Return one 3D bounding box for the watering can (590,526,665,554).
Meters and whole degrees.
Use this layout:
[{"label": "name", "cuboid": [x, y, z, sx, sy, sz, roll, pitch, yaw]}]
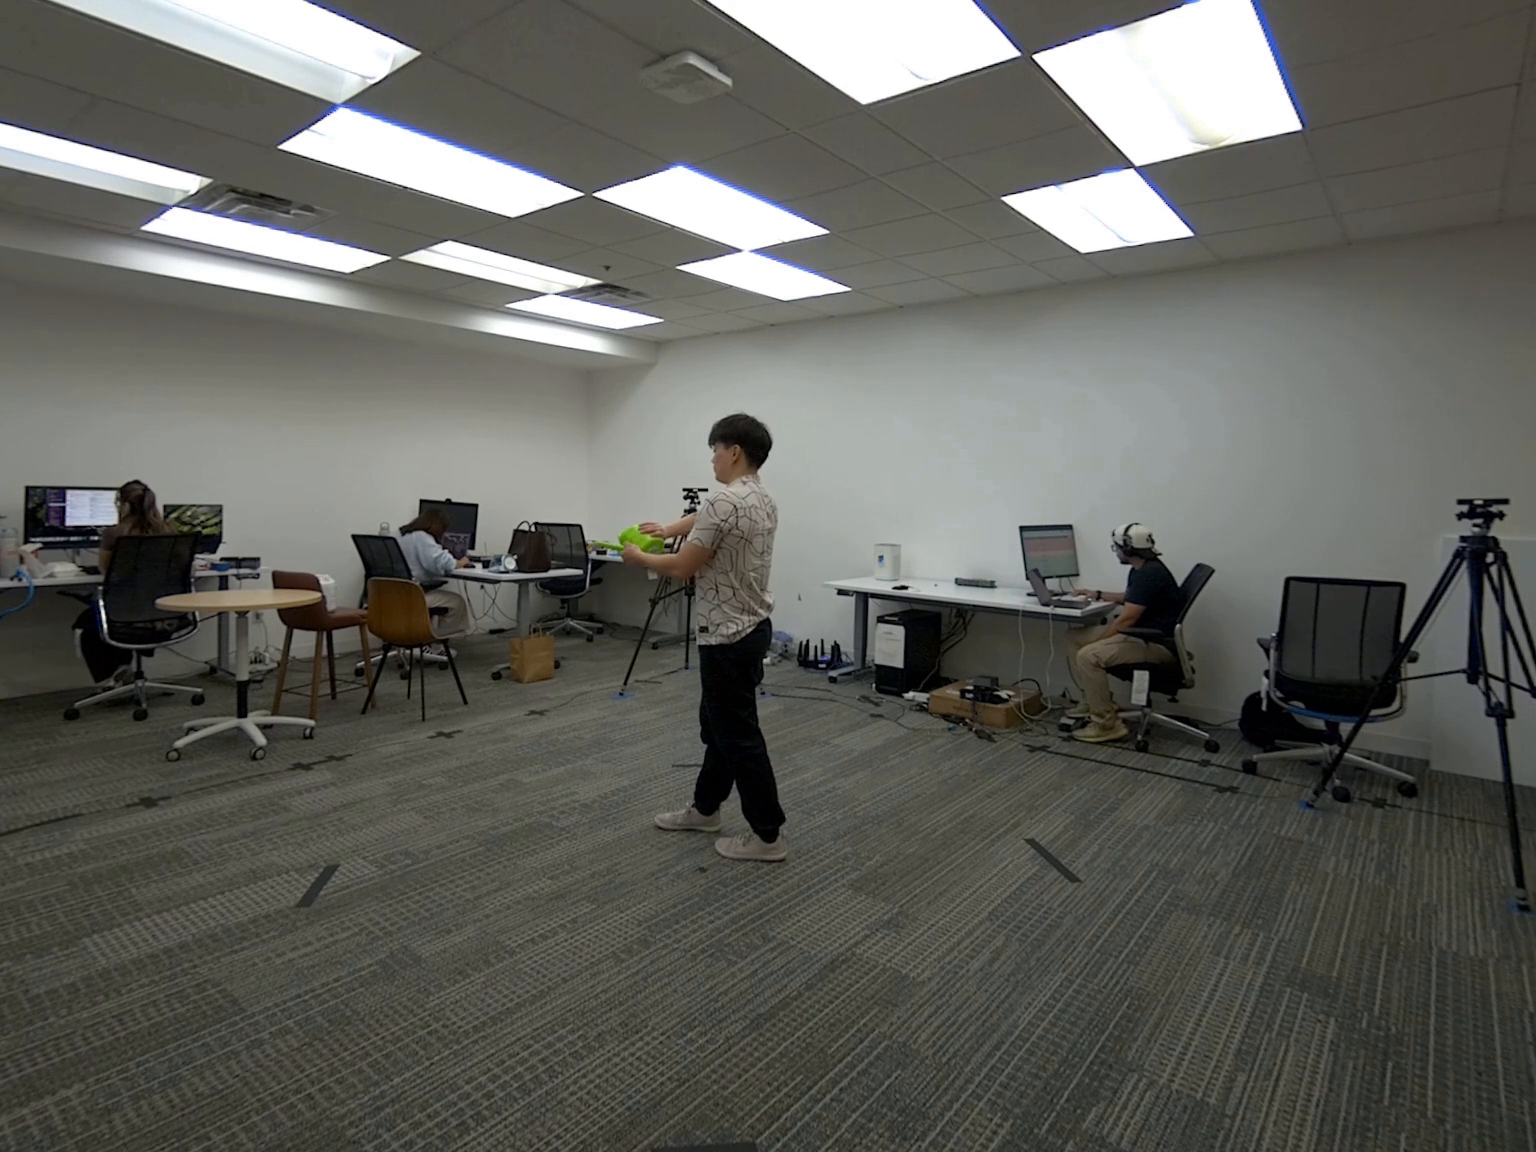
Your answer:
[{"label": "watering can", "cuboid": [-0.561, -0.127, 3.383, 0.276, 0.095, 0.184, -33, 47, -27]}]
